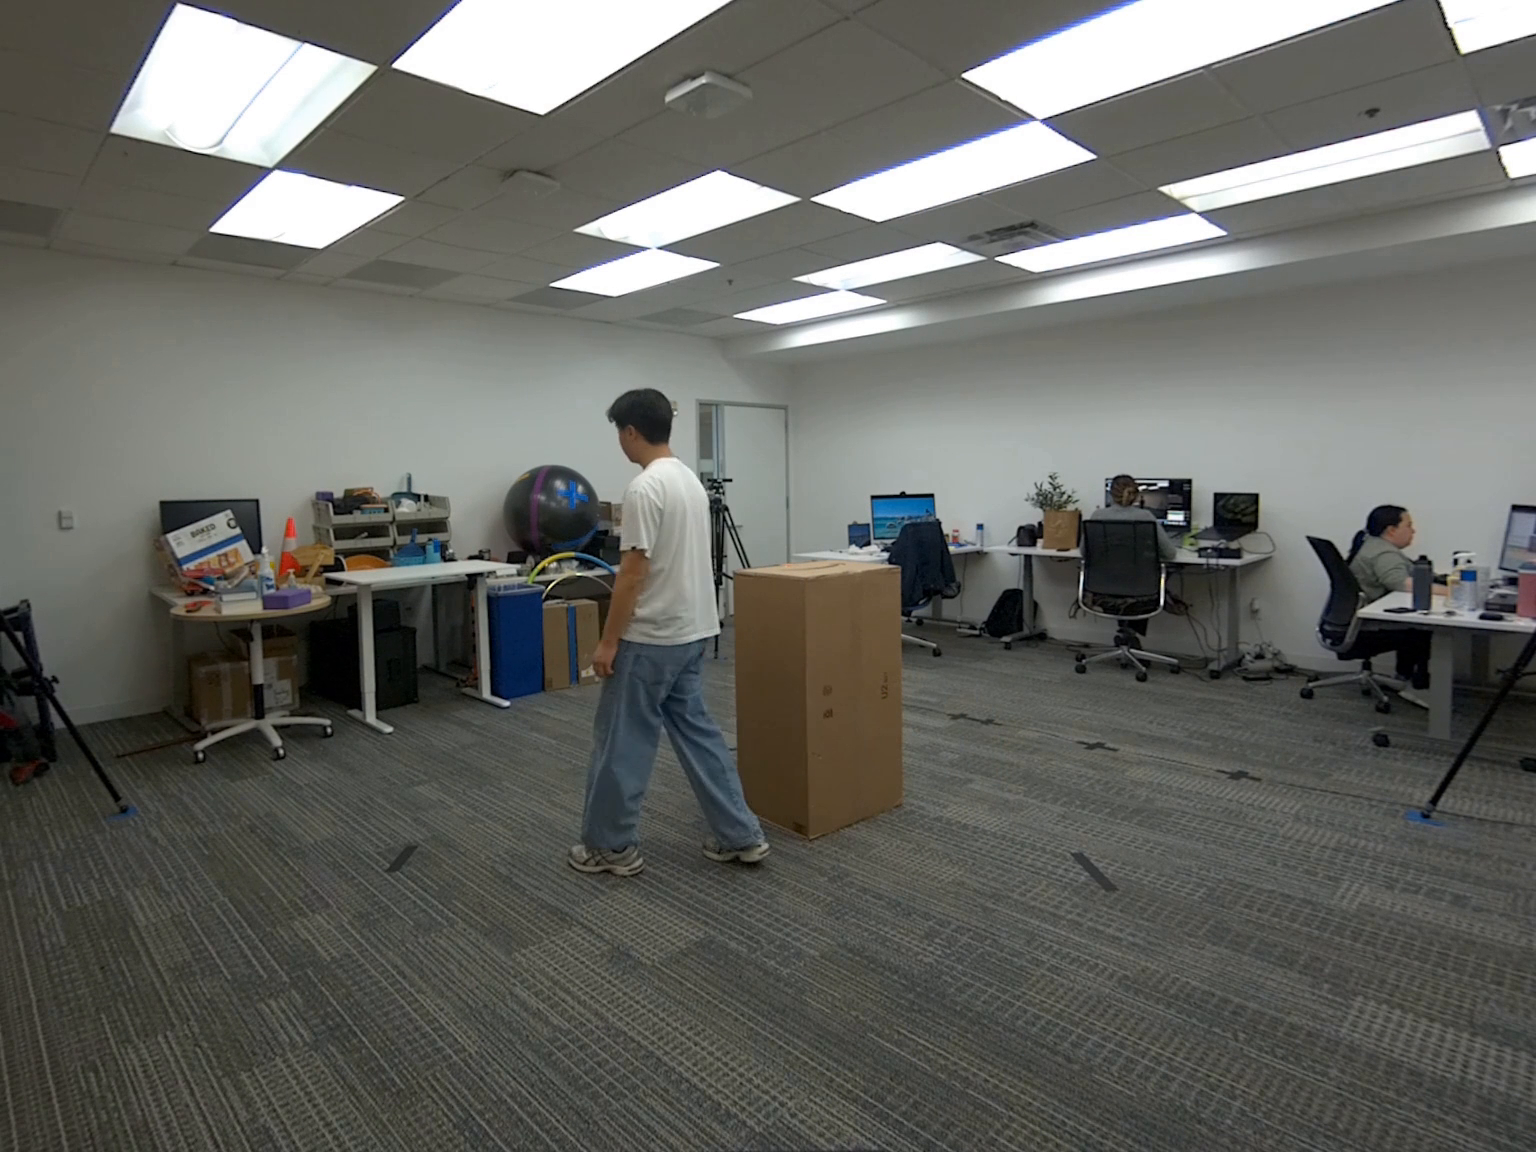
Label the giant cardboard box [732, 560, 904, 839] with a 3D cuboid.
[{"bbox_3d":[0.214,0.475,3.602,0.562,1.022,0.439,-5,5,-40],"label":"giant cardboard box"}]
